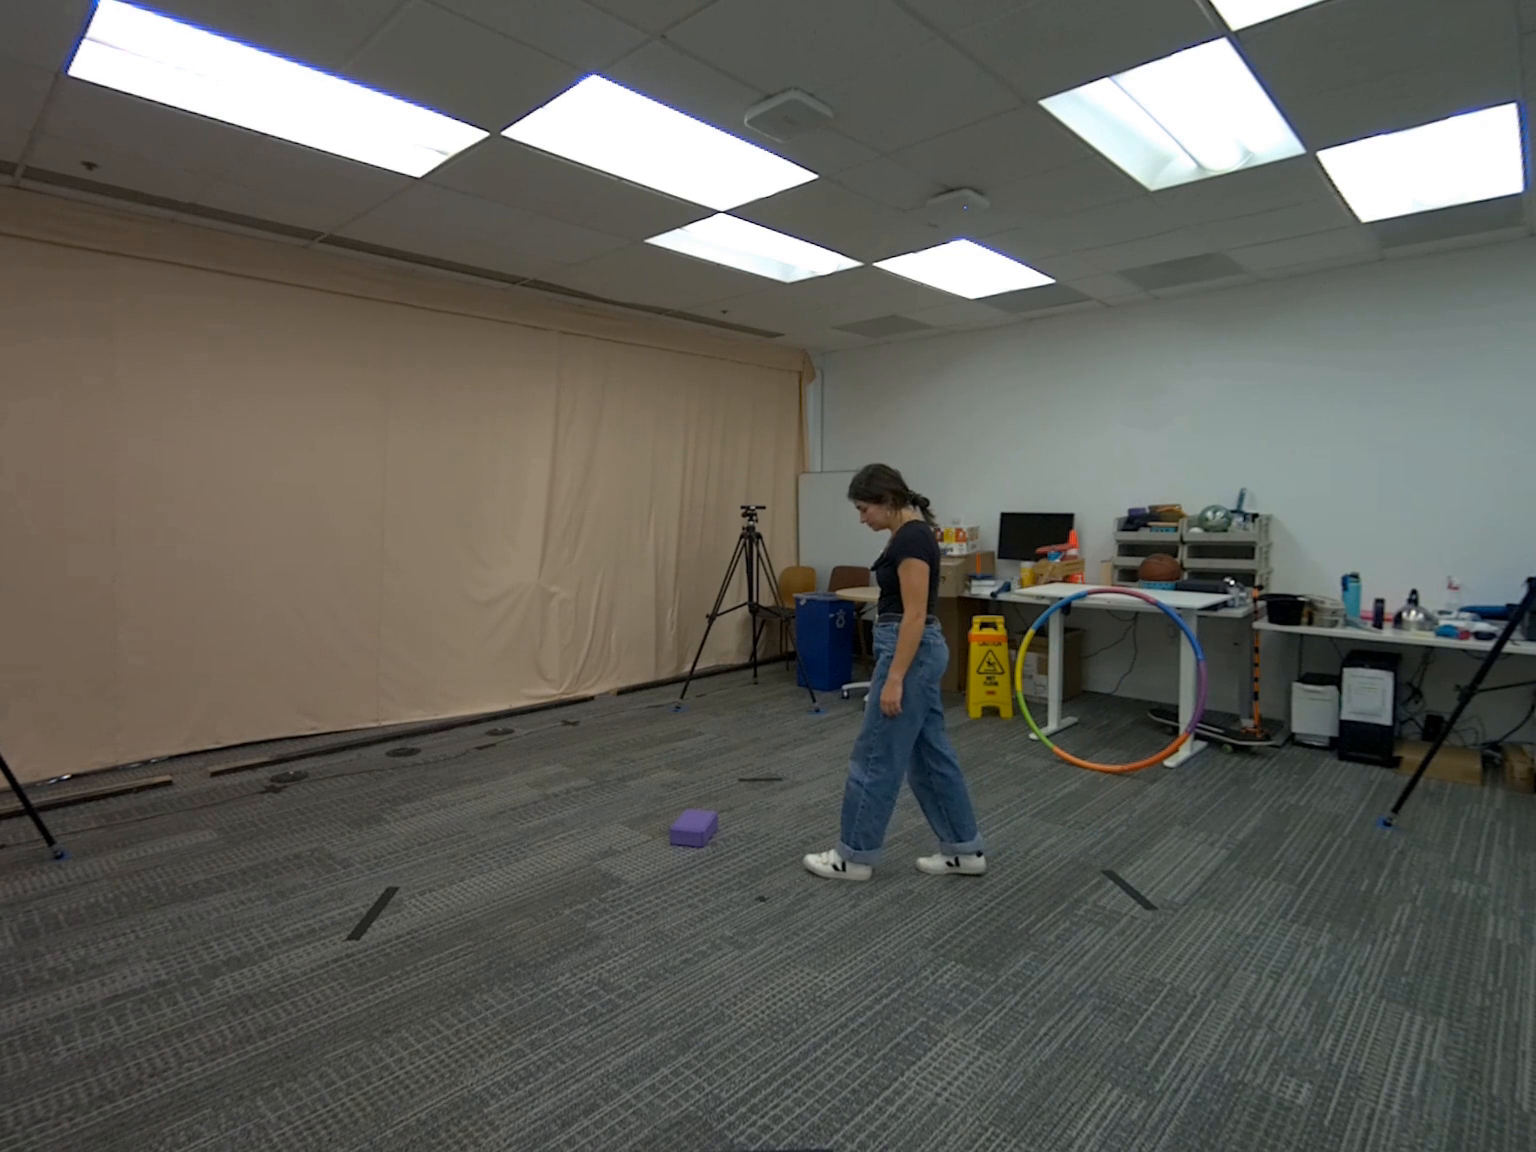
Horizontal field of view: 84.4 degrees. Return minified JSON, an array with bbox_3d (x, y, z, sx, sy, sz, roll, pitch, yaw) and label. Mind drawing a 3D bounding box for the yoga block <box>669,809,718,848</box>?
[{"bbox_3d":[-0.307,1.060,3.544,0.151,0.076,0.226,2,6,14],"label":"yoga block"}]
